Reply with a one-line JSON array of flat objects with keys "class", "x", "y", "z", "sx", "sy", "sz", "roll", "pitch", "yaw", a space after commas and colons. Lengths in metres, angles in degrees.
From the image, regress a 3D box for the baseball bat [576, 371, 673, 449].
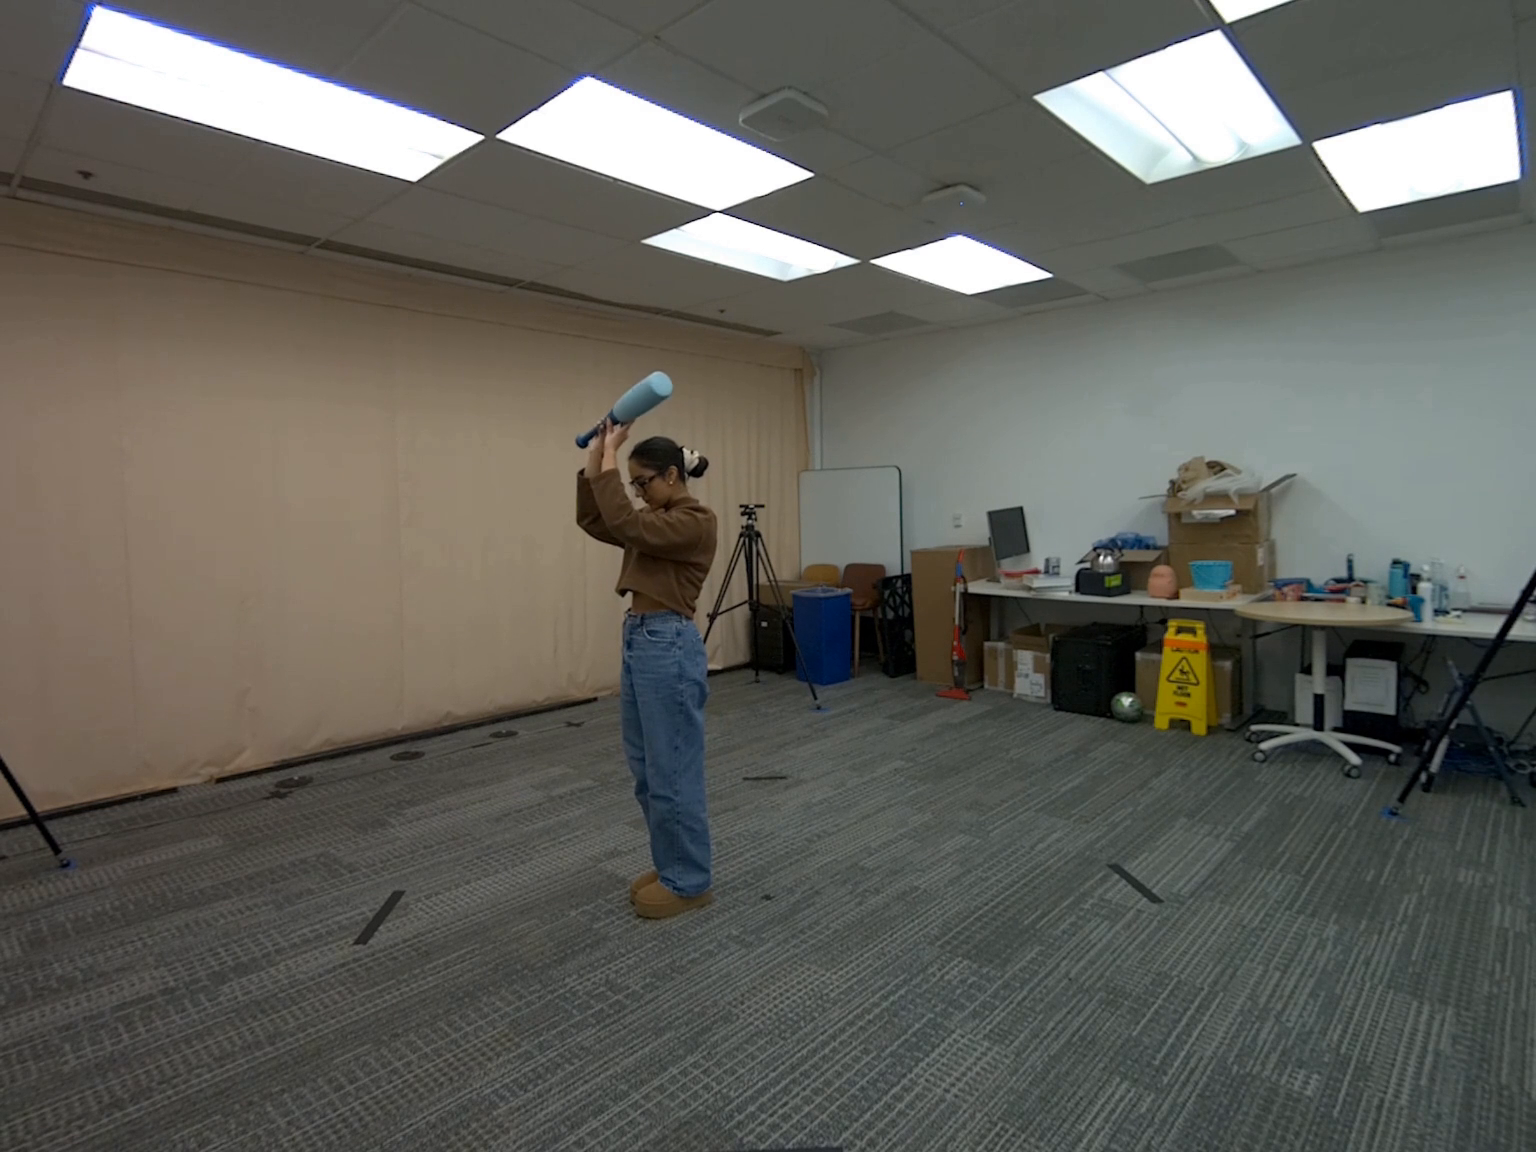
[{"class": "baseball bat", "x": -0.496, "y": -0.535, "z": 2.770, "sx": 0.086, "sy": 0.089, "sz": 0.556, "roll": -4, "pitch": -10, "yaw": -39}]
